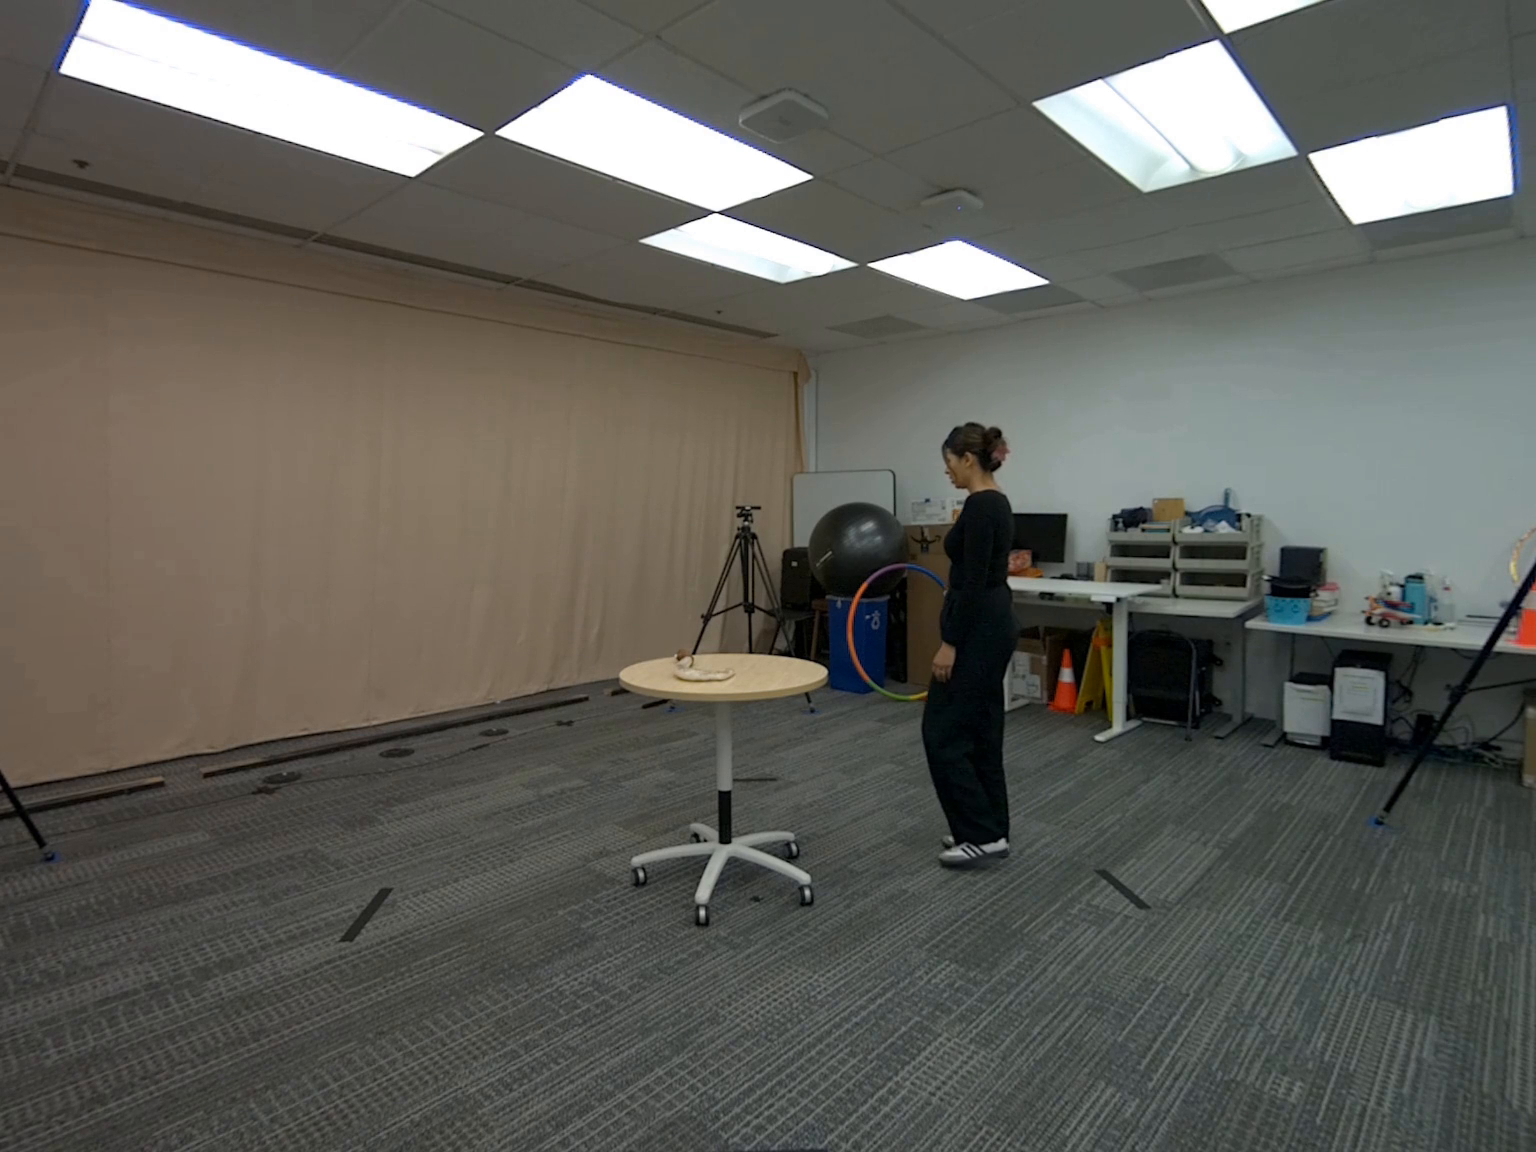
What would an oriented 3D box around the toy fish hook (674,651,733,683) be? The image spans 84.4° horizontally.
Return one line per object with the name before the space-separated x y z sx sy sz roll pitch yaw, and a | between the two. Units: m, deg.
toy fish hook | -0.245 0.338 3.162 0.222 0.048 0.512 7 4 -10
